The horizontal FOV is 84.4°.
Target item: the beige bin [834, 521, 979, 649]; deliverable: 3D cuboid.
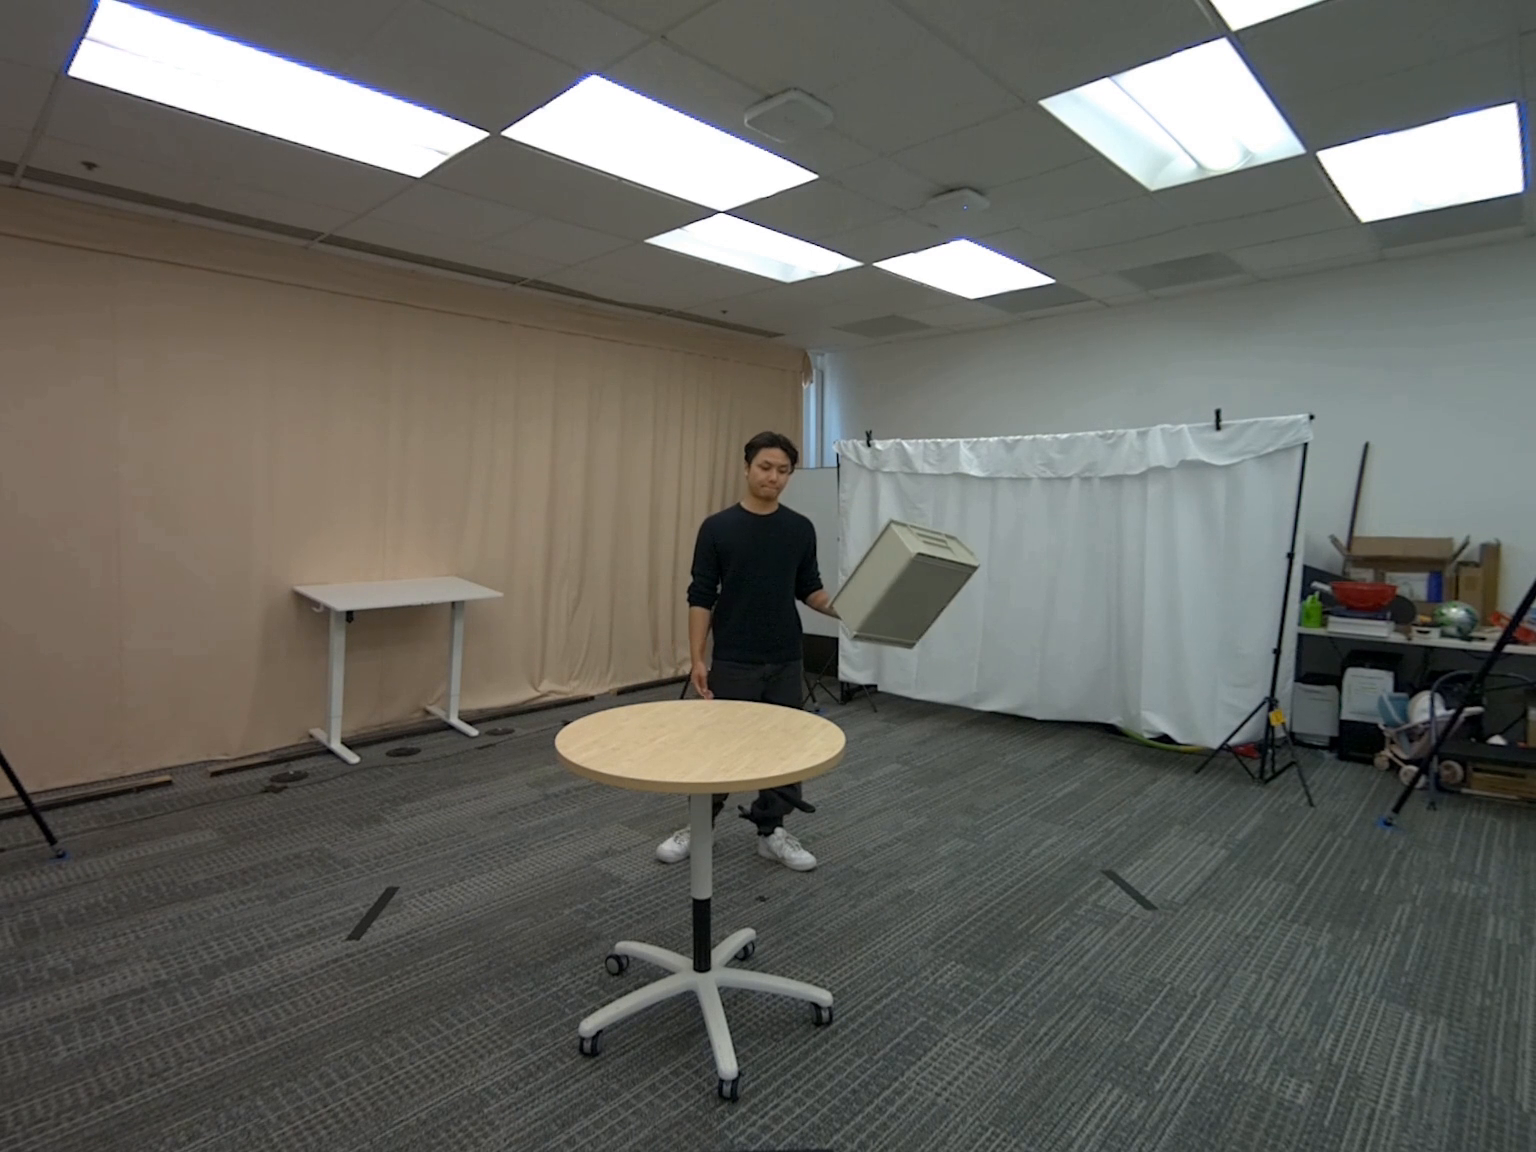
[{"bbox_3d":[0.495,0.049,3.022,0.365,0.423,0.195,12,35,-35],"label":"beige bin"}]
